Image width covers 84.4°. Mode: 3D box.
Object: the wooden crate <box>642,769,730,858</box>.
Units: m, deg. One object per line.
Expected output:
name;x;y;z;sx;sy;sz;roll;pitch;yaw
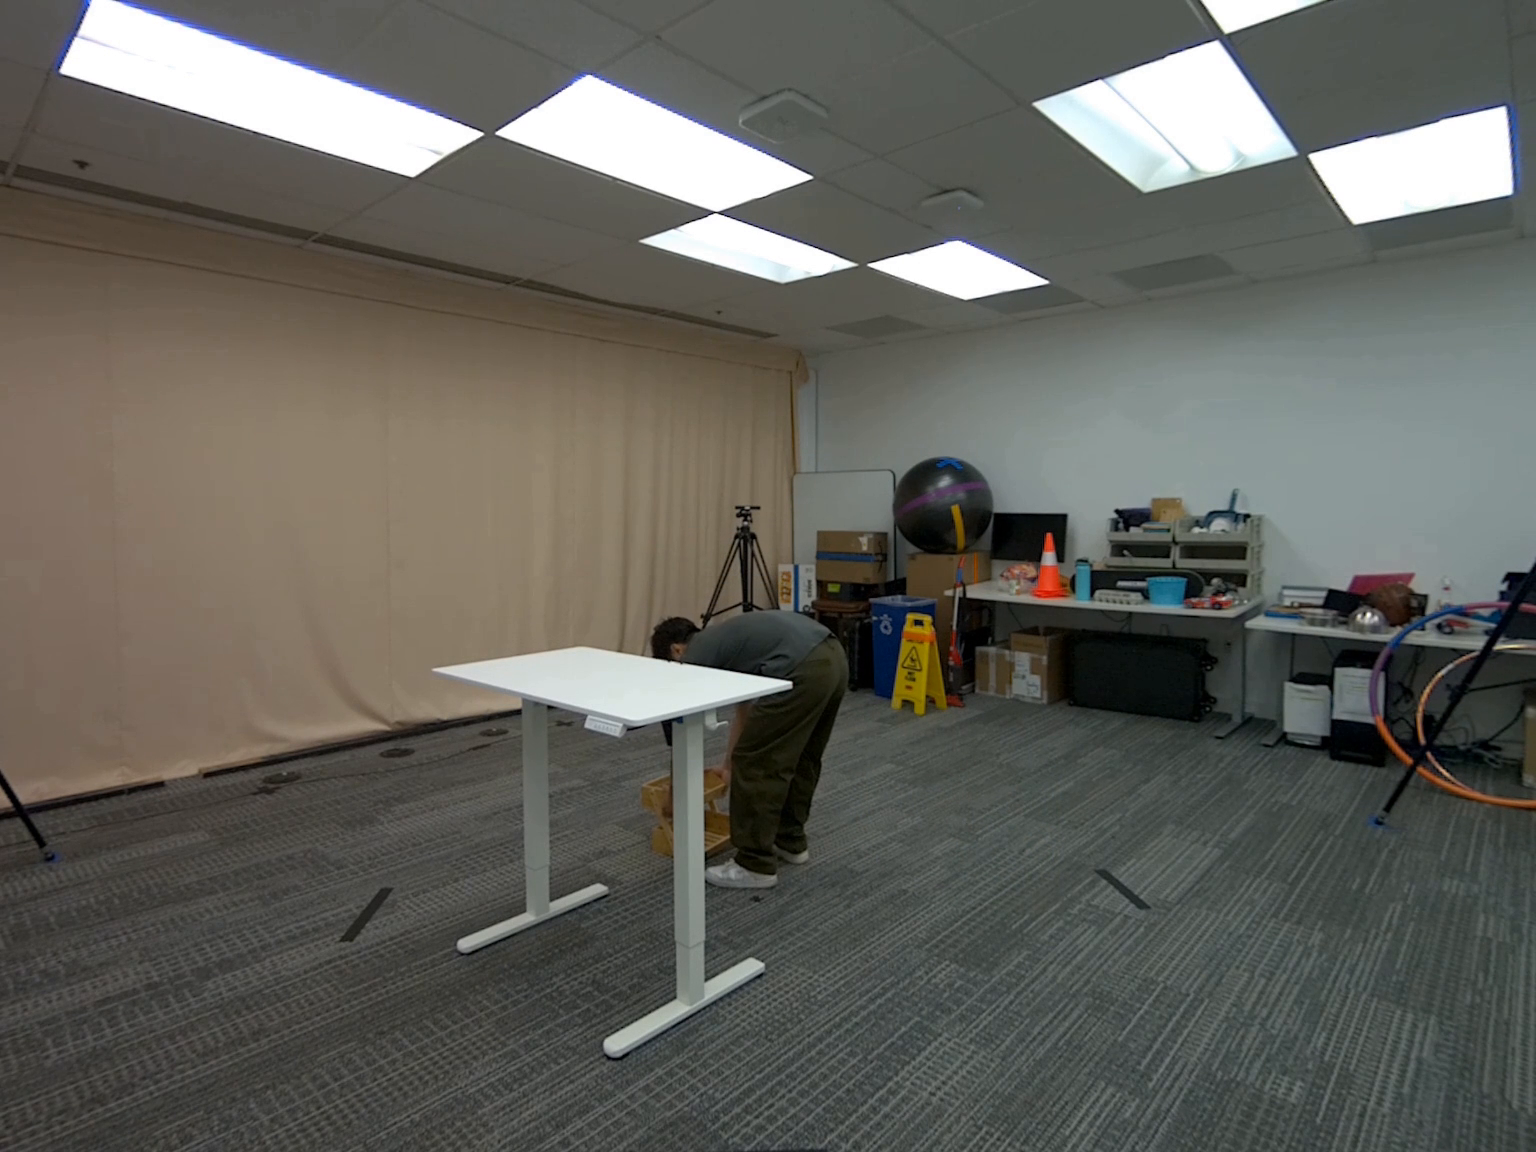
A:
wooden crate;-0.301;0.966;3.464;0.311;0.273;0.315;0;4;34
